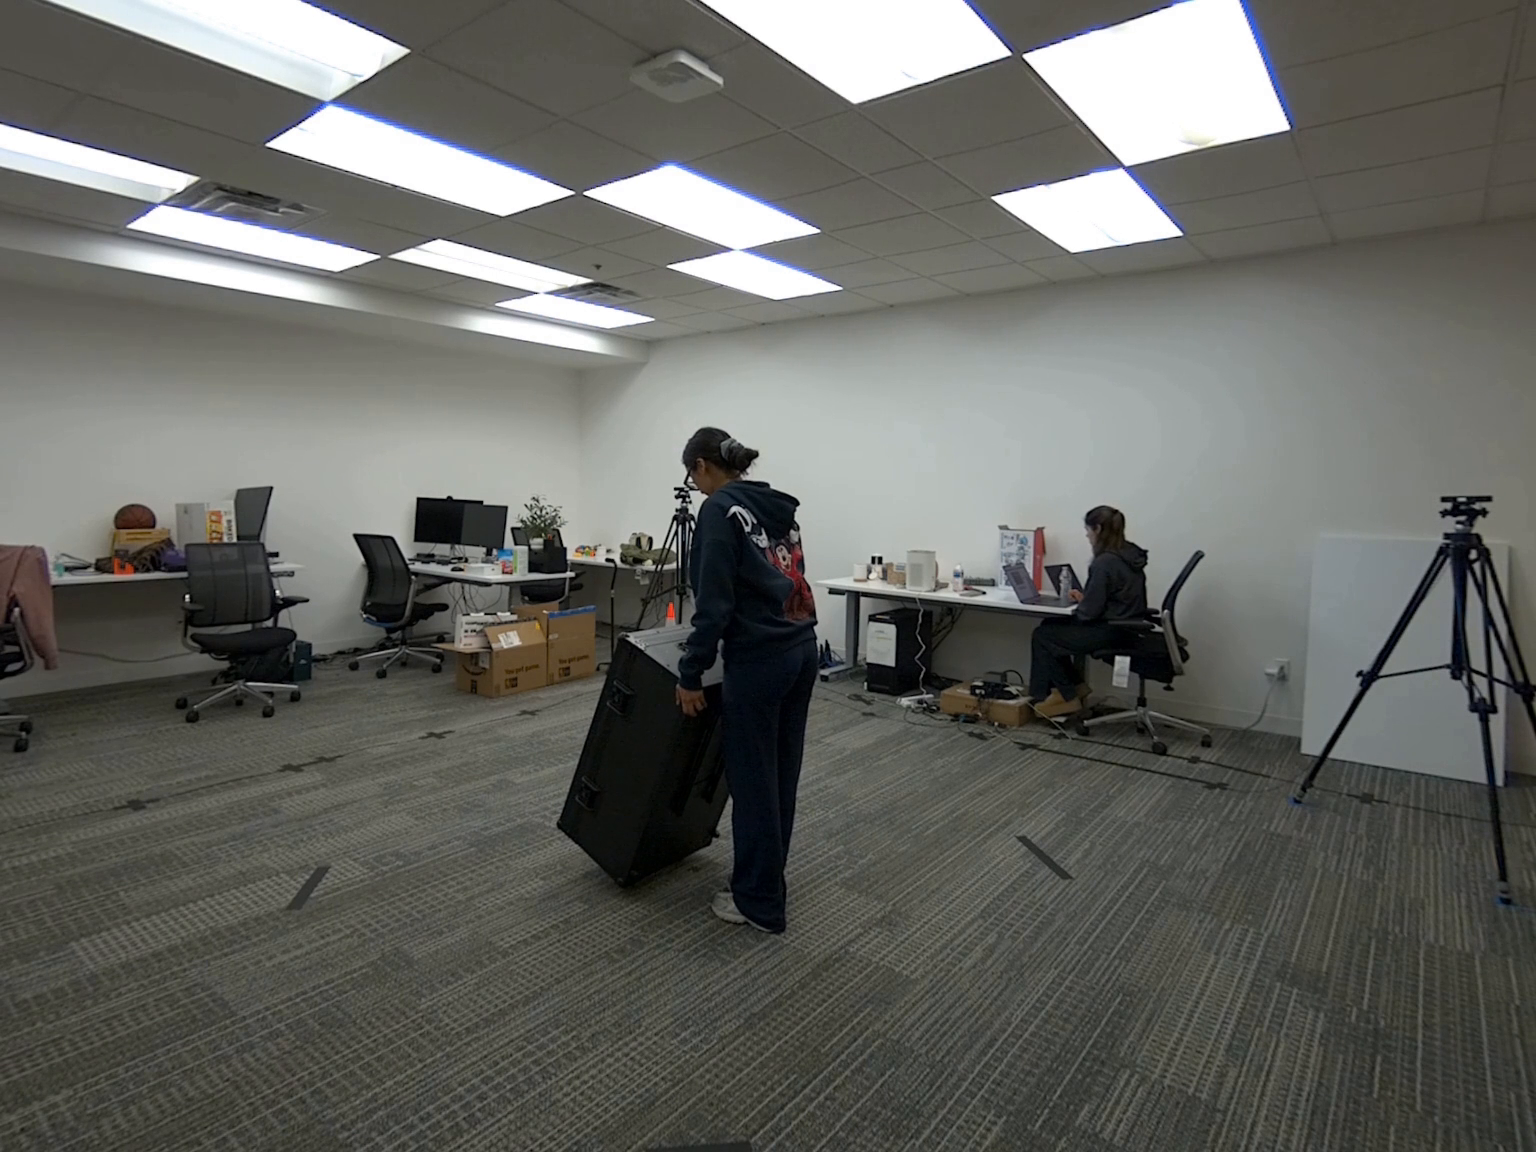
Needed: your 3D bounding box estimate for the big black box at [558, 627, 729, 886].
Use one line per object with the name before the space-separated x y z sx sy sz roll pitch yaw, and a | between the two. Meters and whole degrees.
big black box | -0.370 0.640 3.029 0.411 0.854 0.506 31 19 30
